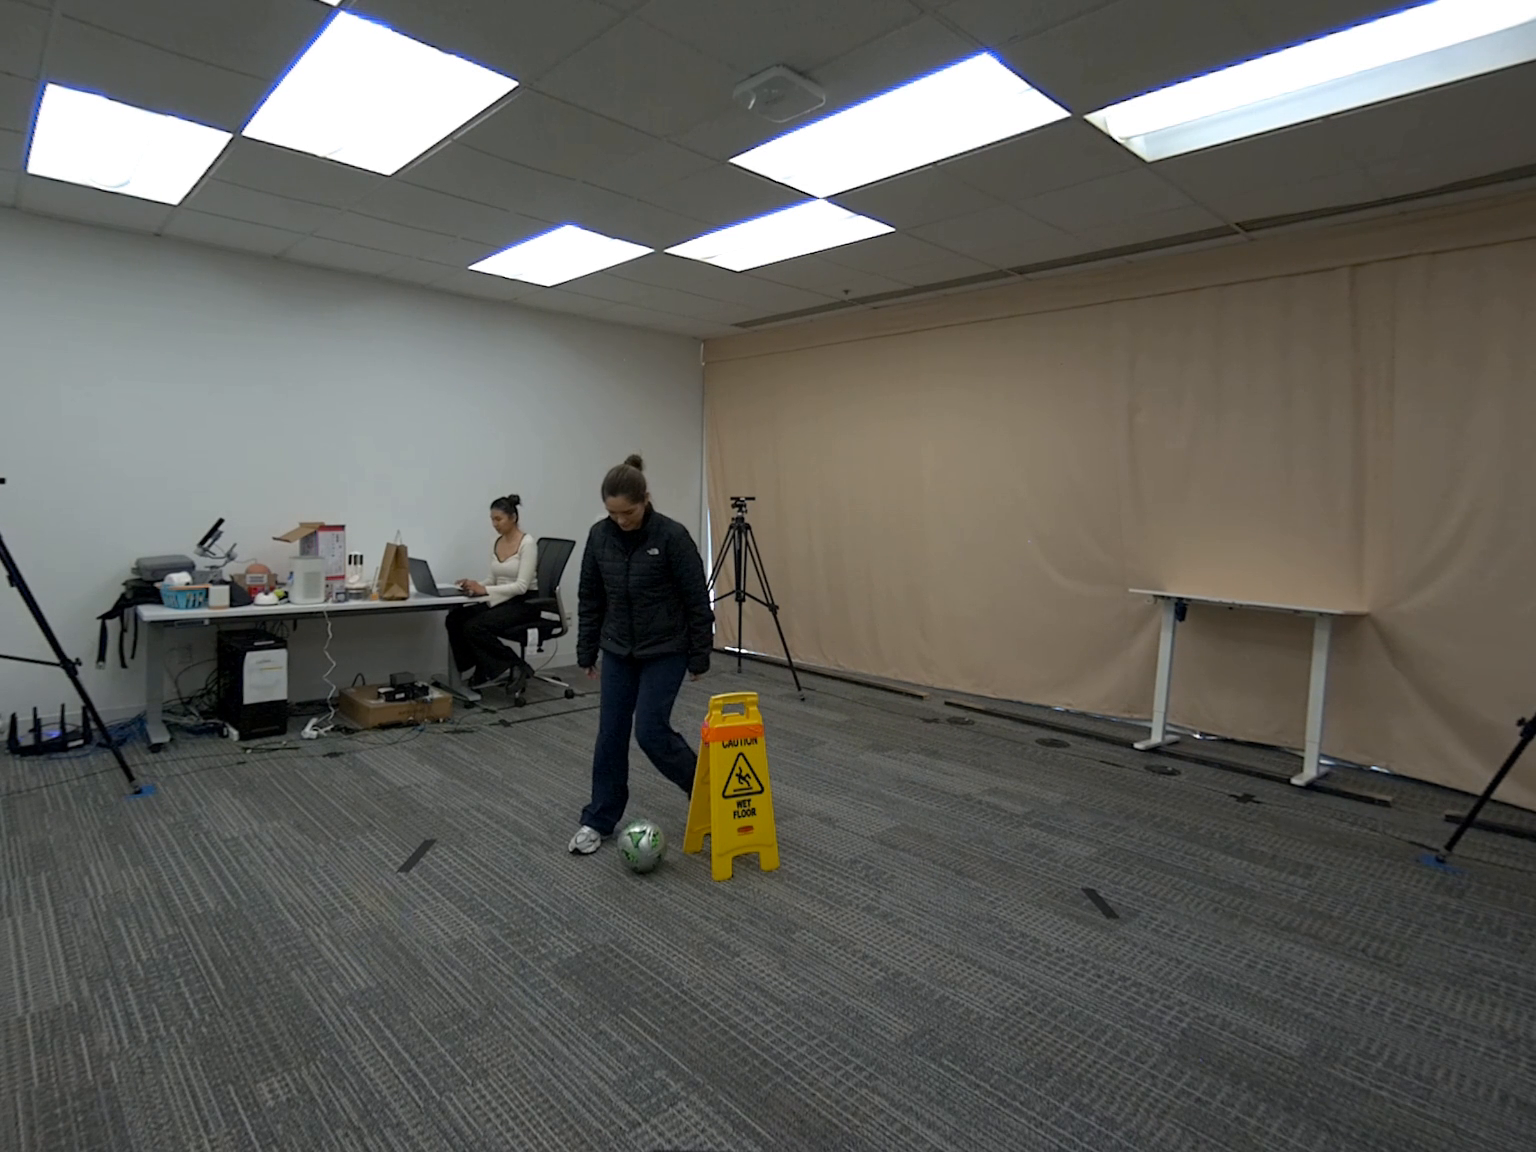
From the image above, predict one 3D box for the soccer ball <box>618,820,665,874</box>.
[{"bbox_3d":[-0.471,1.000,3.130,0.187,0.187,0.188,1,4,-1],"label":"soccer ball"}]
